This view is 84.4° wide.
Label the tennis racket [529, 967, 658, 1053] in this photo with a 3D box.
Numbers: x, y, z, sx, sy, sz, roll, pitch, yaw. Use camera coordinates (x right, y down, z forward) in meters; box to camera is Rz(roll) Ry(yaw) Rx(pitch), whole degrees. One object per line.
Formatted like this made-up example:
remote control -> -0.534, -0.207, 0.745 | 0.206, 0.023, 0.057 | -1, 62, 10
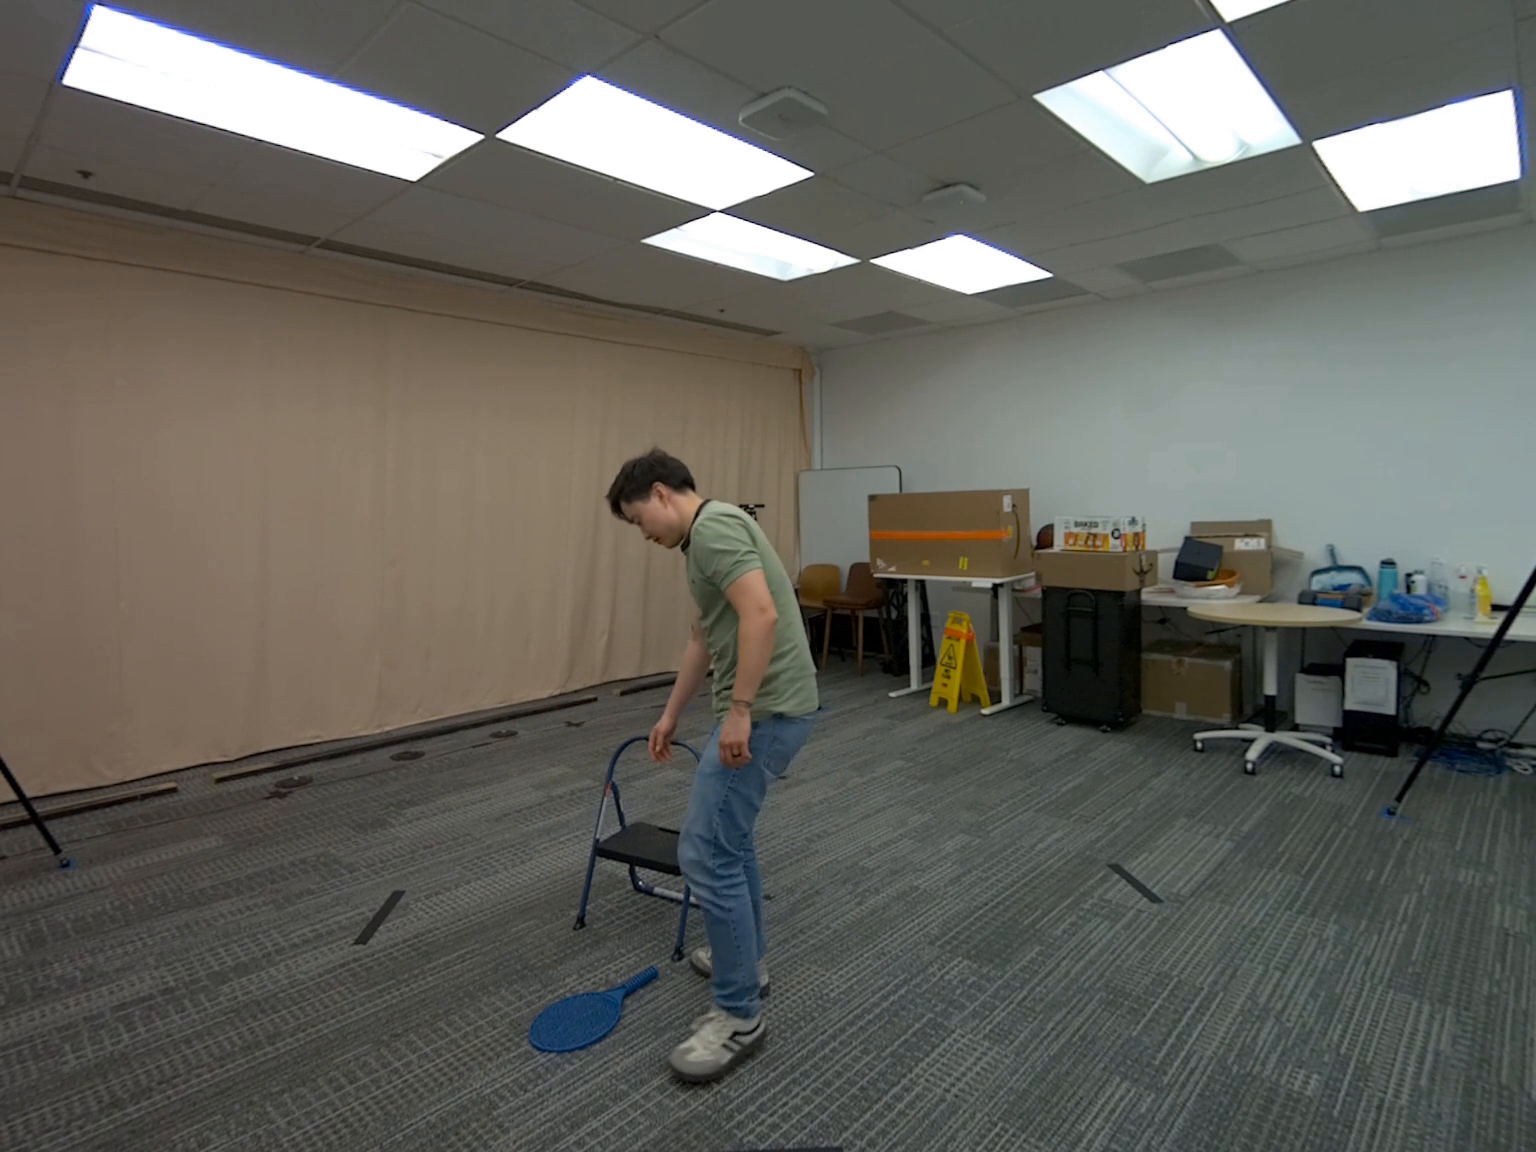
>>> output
tennis racket -> -0.455, 1.183, 2.338 | 0.221, 0.031, 0.420 | 3, 8, 41
